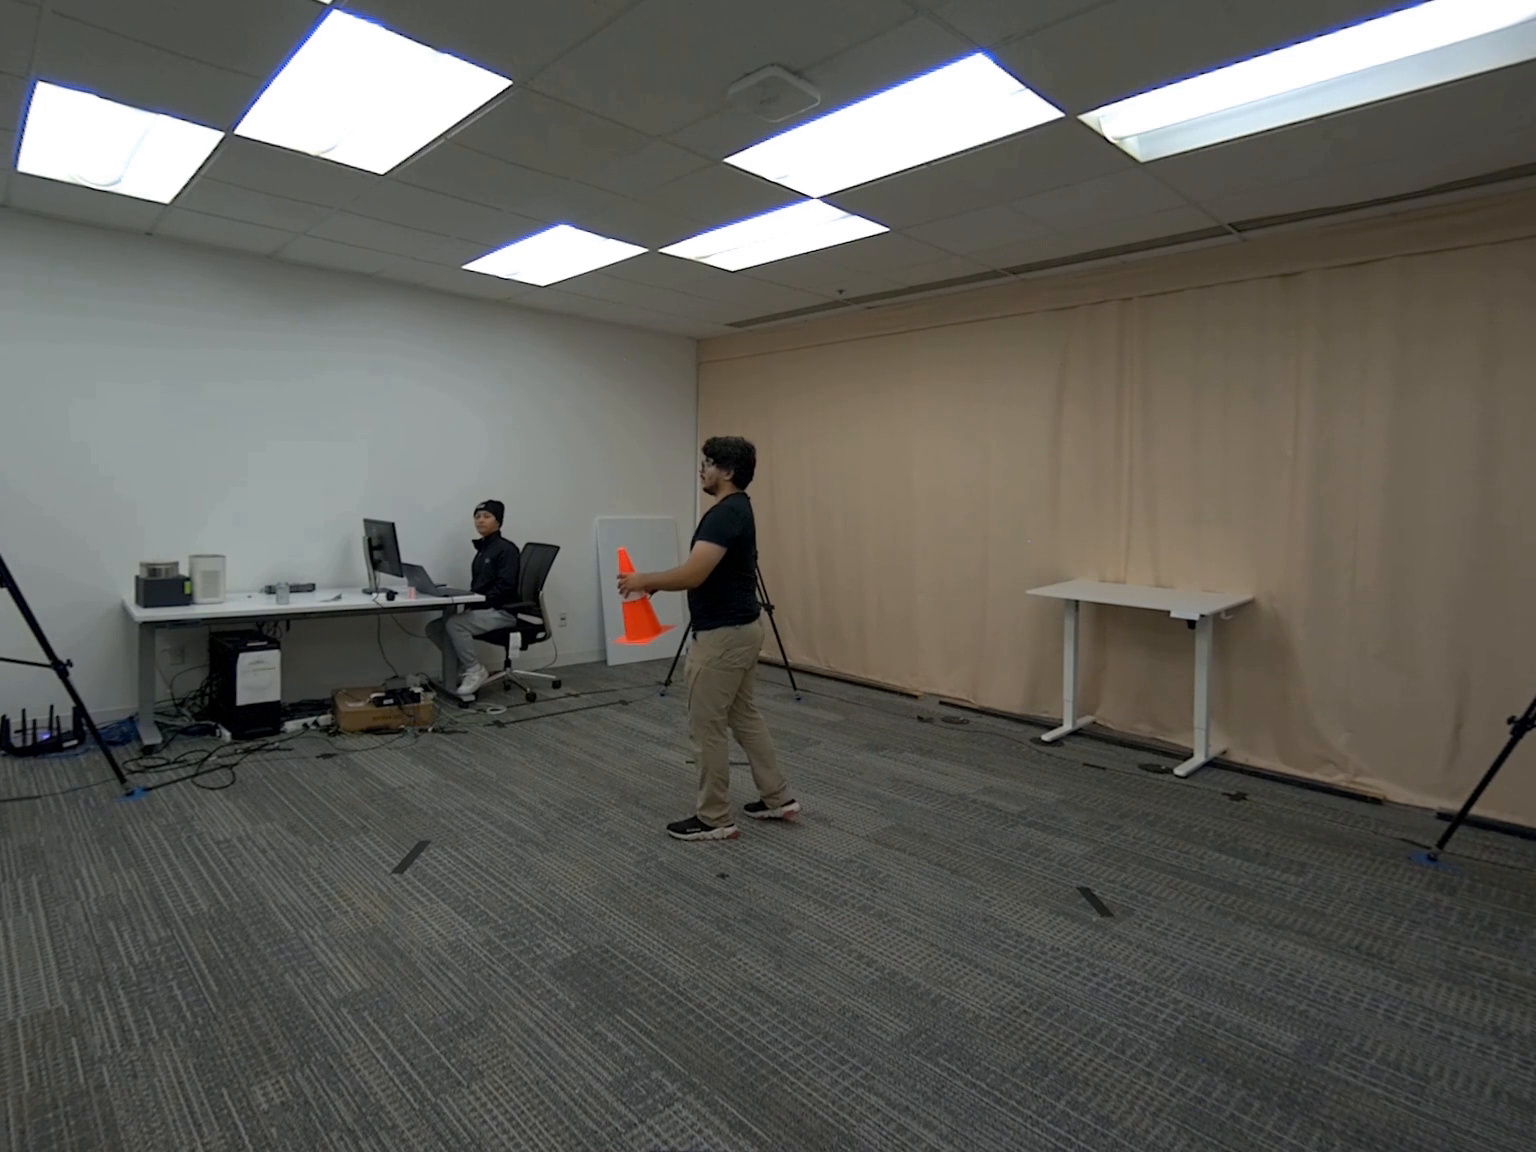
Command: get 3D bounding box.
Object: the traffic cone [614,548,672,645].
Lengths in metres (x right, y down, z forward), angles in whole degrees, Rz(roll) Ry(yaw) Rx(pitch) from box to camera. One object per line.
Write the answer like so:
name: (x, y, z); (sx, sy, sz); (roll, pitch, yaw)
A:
traffic cone: (-0.568, 0.071, 3.530); (0.209, 0.380, 0.201); (-4, 14, 40)
